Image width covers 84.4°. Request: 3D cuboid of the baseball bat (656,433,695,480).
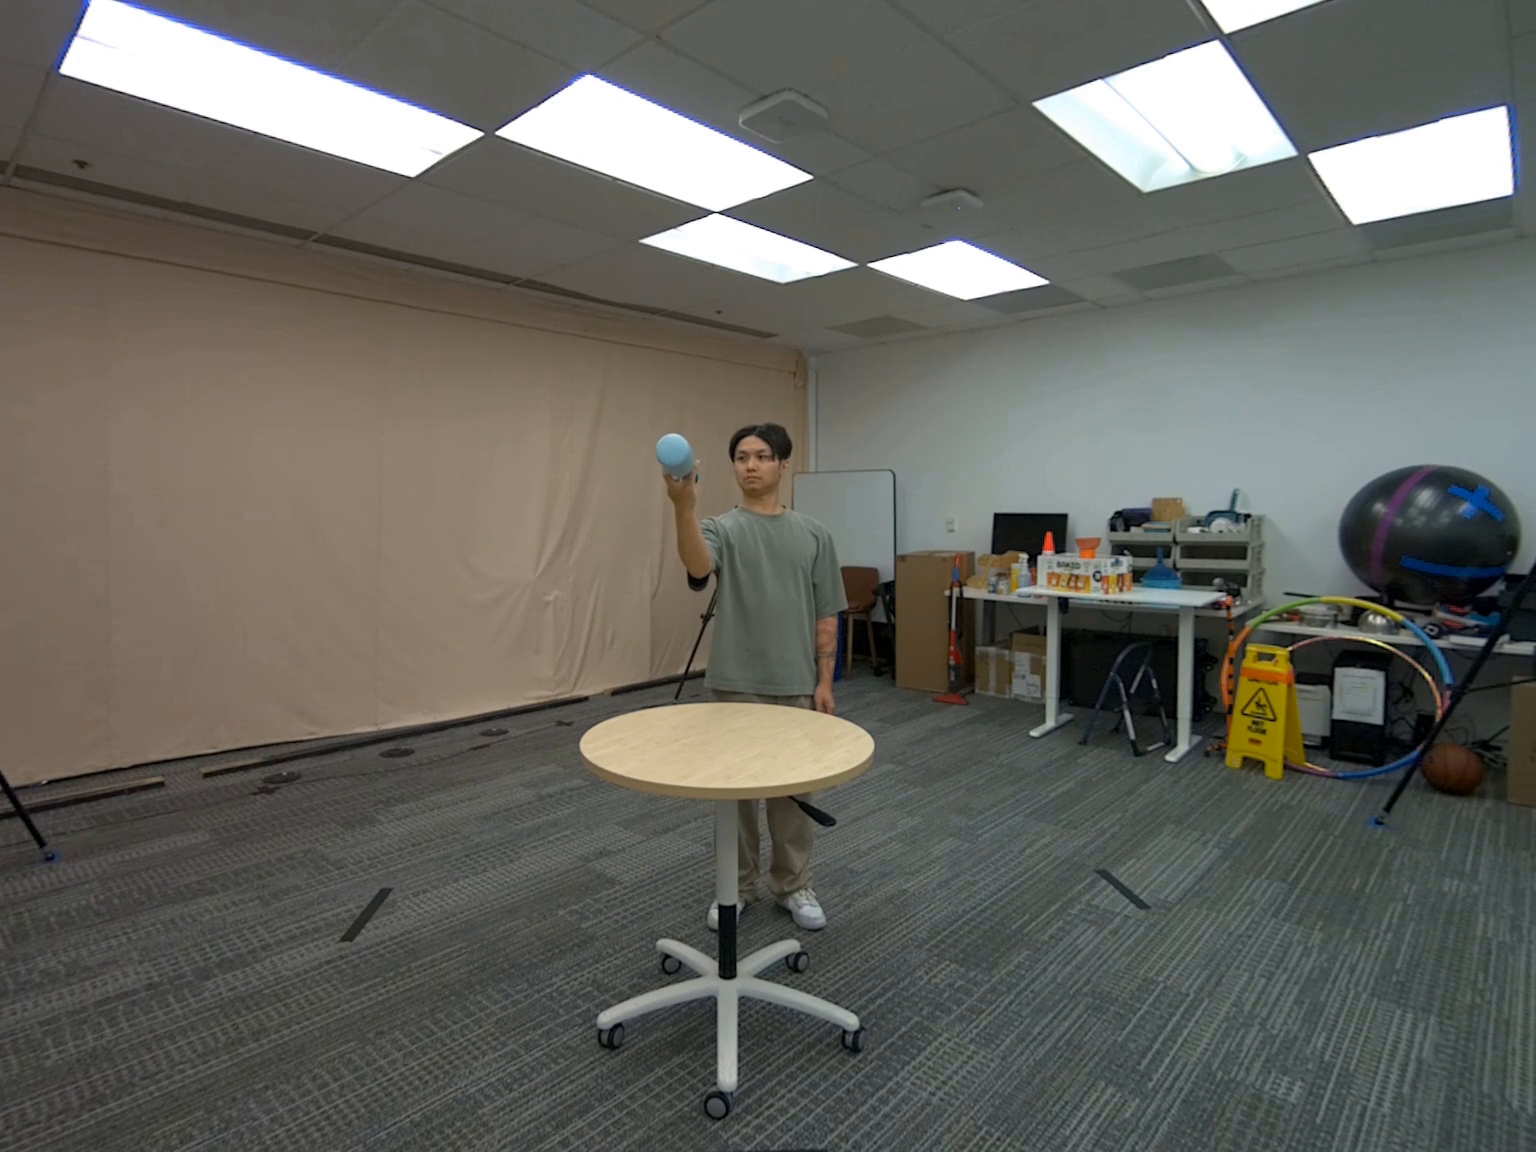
[{"bbox_3d":[-0.238,-0.297,2.328,0.089,0.089,0.541,0,-3,-2],"label":"baseball bat"}]
